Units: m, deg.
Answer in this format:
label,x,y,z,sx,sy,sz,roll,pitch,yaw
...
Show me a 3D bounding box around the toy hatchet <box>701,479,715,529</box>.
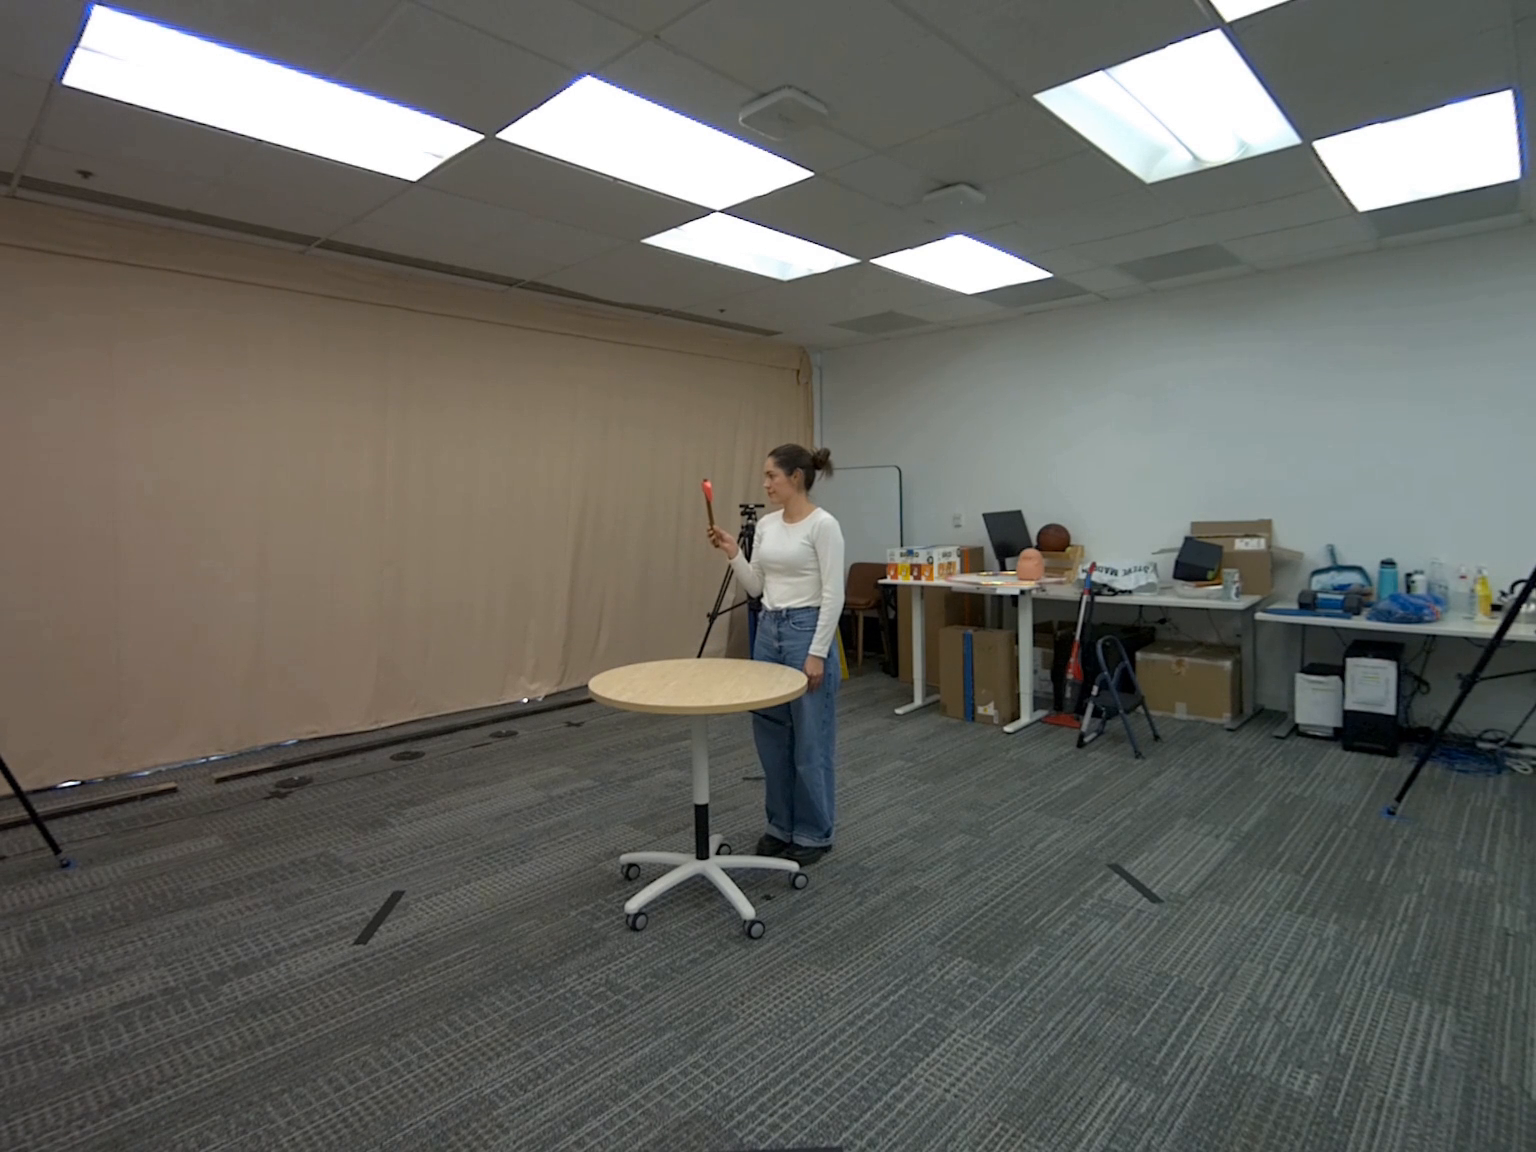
label,x,y,z,sx,sy,sz,roll,pitch,yaw
toy hatchet,-0.209,-0.253,3.296,0.029,0.272,0.132,-6,-8,-16
